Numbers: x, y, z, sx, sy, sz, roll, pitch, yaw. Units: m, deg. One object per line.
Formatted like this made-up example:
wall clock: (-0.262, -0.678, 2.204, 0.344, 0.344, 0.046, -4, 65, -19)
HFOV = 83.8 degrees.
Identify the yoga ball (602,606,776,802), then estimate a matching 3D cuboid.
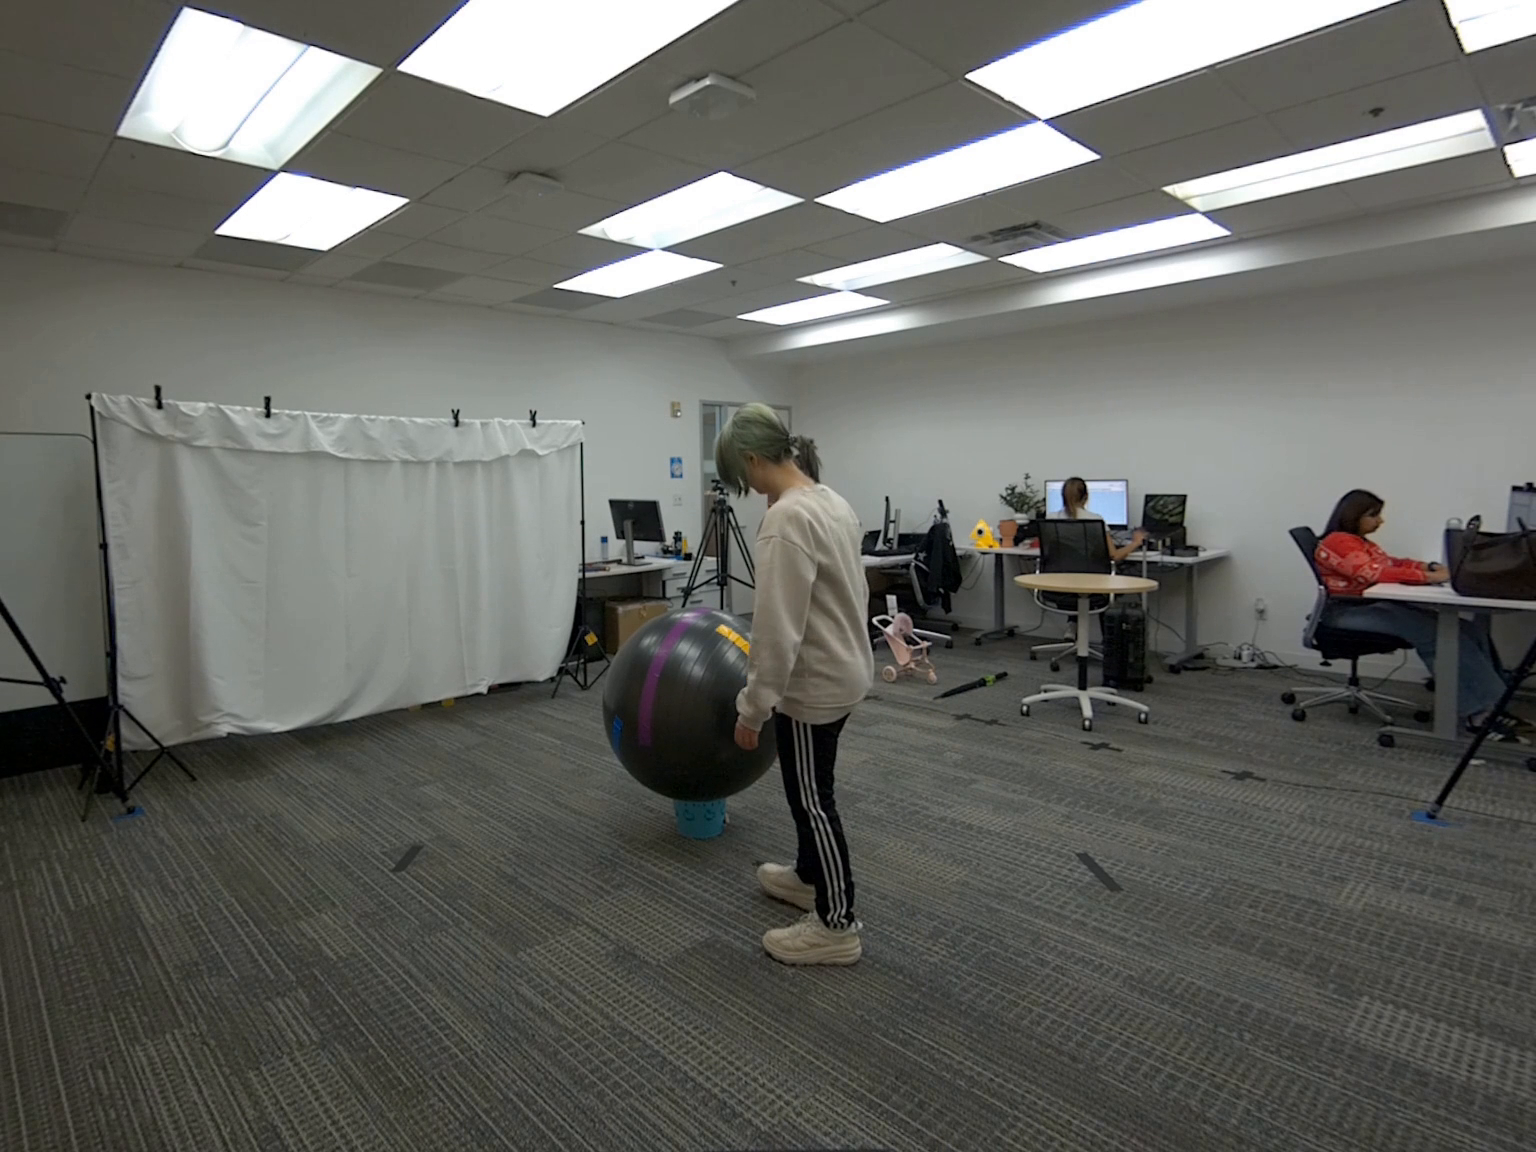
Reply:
yoga ball: (-0.279, 0.504, 3.397, 0.757, 0.755, 0.762, -1, 5, -2)
